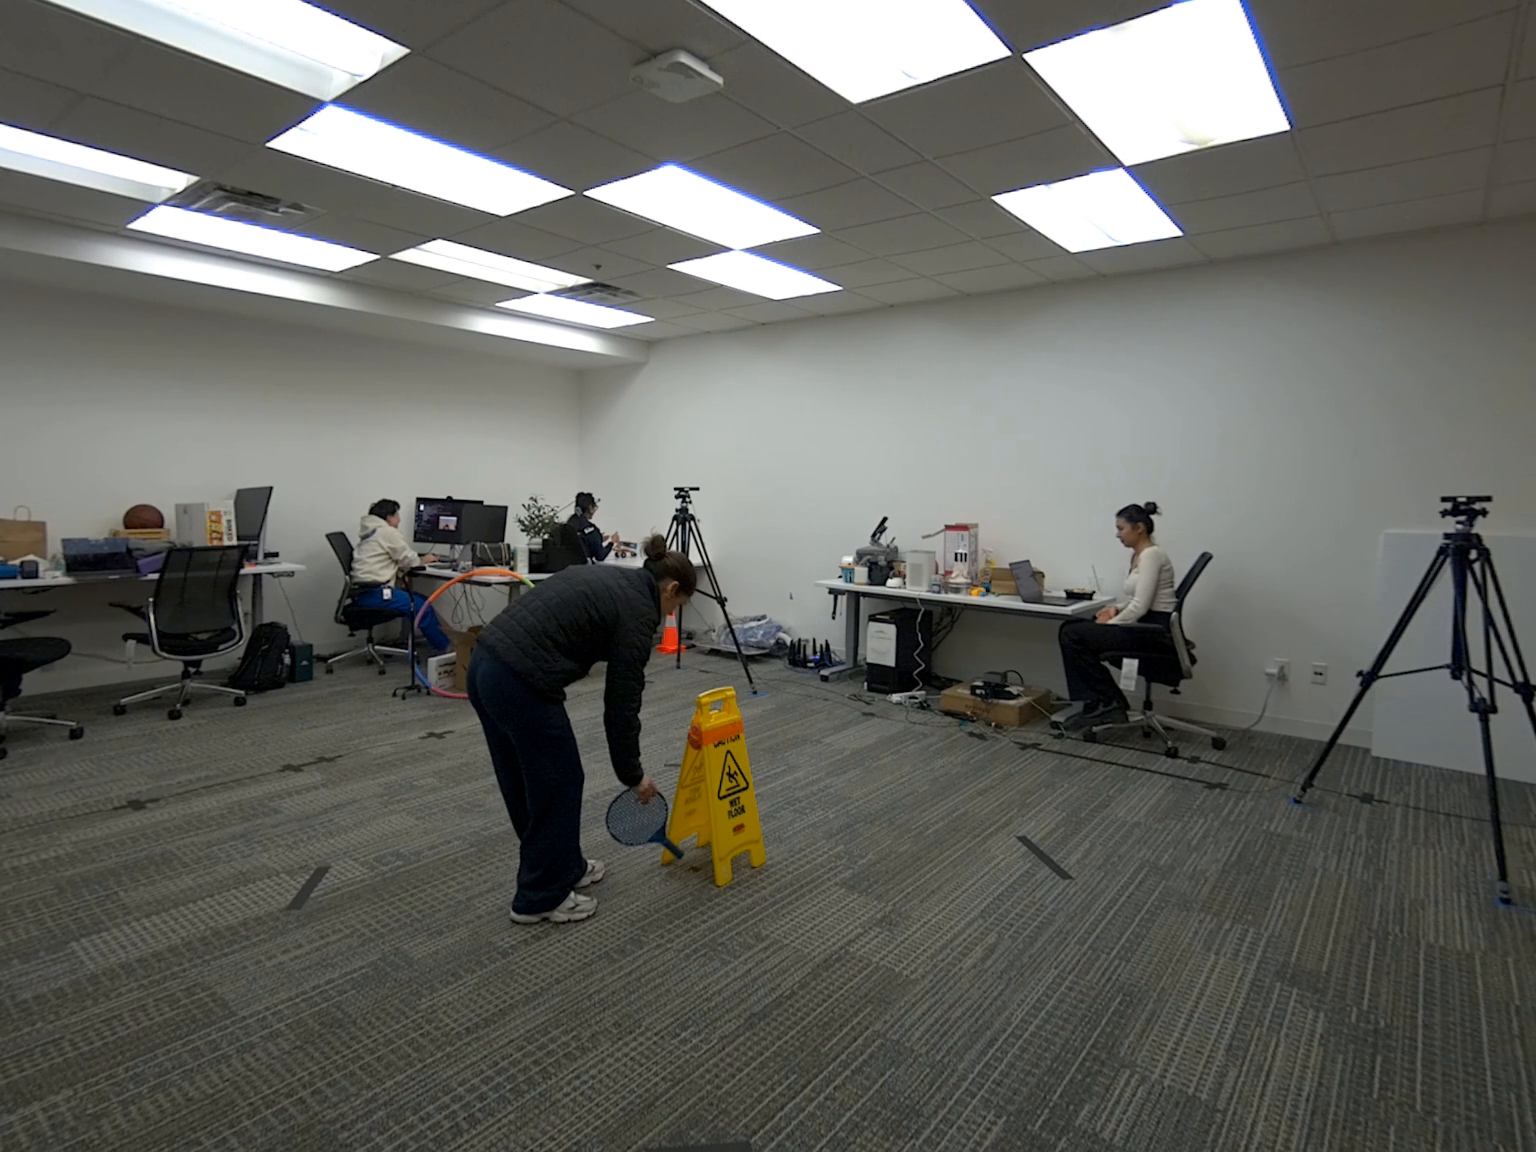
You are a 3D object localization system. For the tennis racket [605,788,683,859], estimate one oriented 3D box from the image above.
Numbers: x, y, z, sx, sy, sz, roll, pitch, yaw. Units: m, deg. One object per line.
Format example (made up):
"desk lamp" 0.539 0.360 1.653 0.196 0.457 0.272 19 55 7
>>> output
"tennis racket" -0.394 0.880 2.935 0.213 0.418 0.033 -40 31 -16
